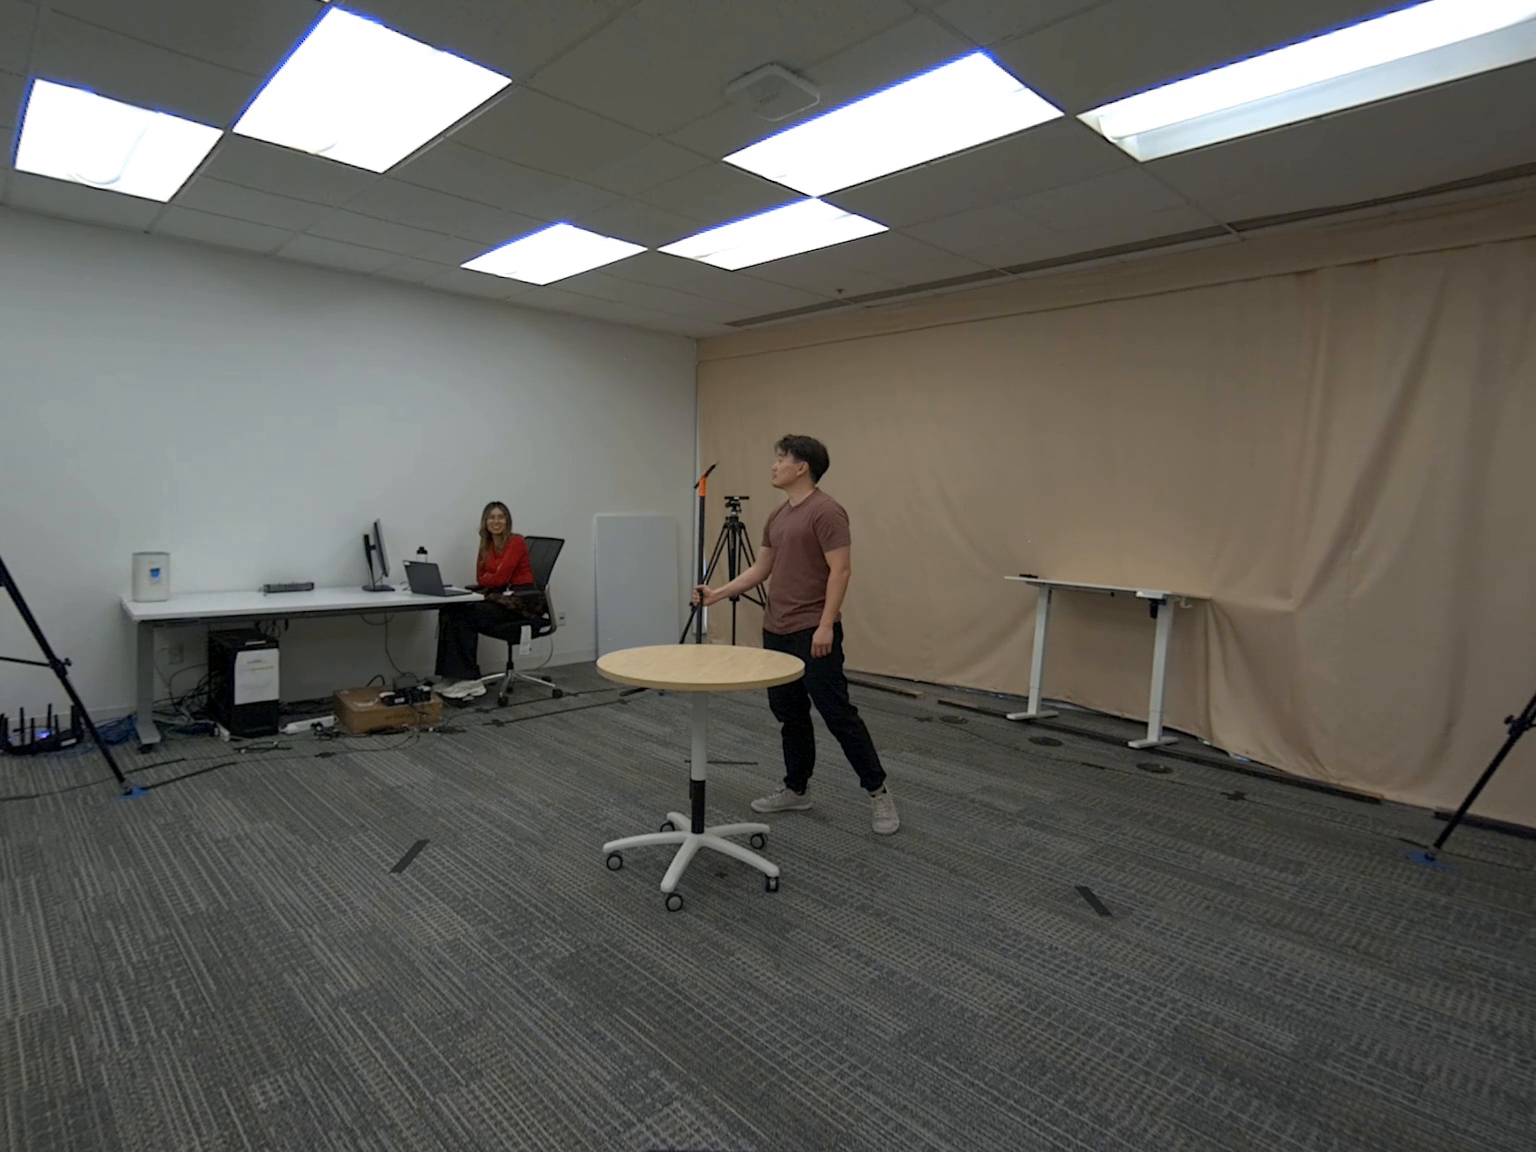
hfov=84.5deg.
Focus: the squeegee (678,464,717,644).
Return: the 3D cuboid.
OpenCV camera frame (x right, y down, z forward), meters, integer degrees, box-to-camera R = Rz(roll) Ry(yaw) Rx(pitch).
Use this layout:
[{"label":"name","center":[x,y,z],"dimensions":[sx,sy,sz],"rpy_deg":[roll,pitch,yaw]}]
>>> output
[{"label":"squeegee","center":[-0.331,0.253,3.882],"dimensions":[0.052,1.549,0.439],"rpy_deg":[4,-10,-14]}]
